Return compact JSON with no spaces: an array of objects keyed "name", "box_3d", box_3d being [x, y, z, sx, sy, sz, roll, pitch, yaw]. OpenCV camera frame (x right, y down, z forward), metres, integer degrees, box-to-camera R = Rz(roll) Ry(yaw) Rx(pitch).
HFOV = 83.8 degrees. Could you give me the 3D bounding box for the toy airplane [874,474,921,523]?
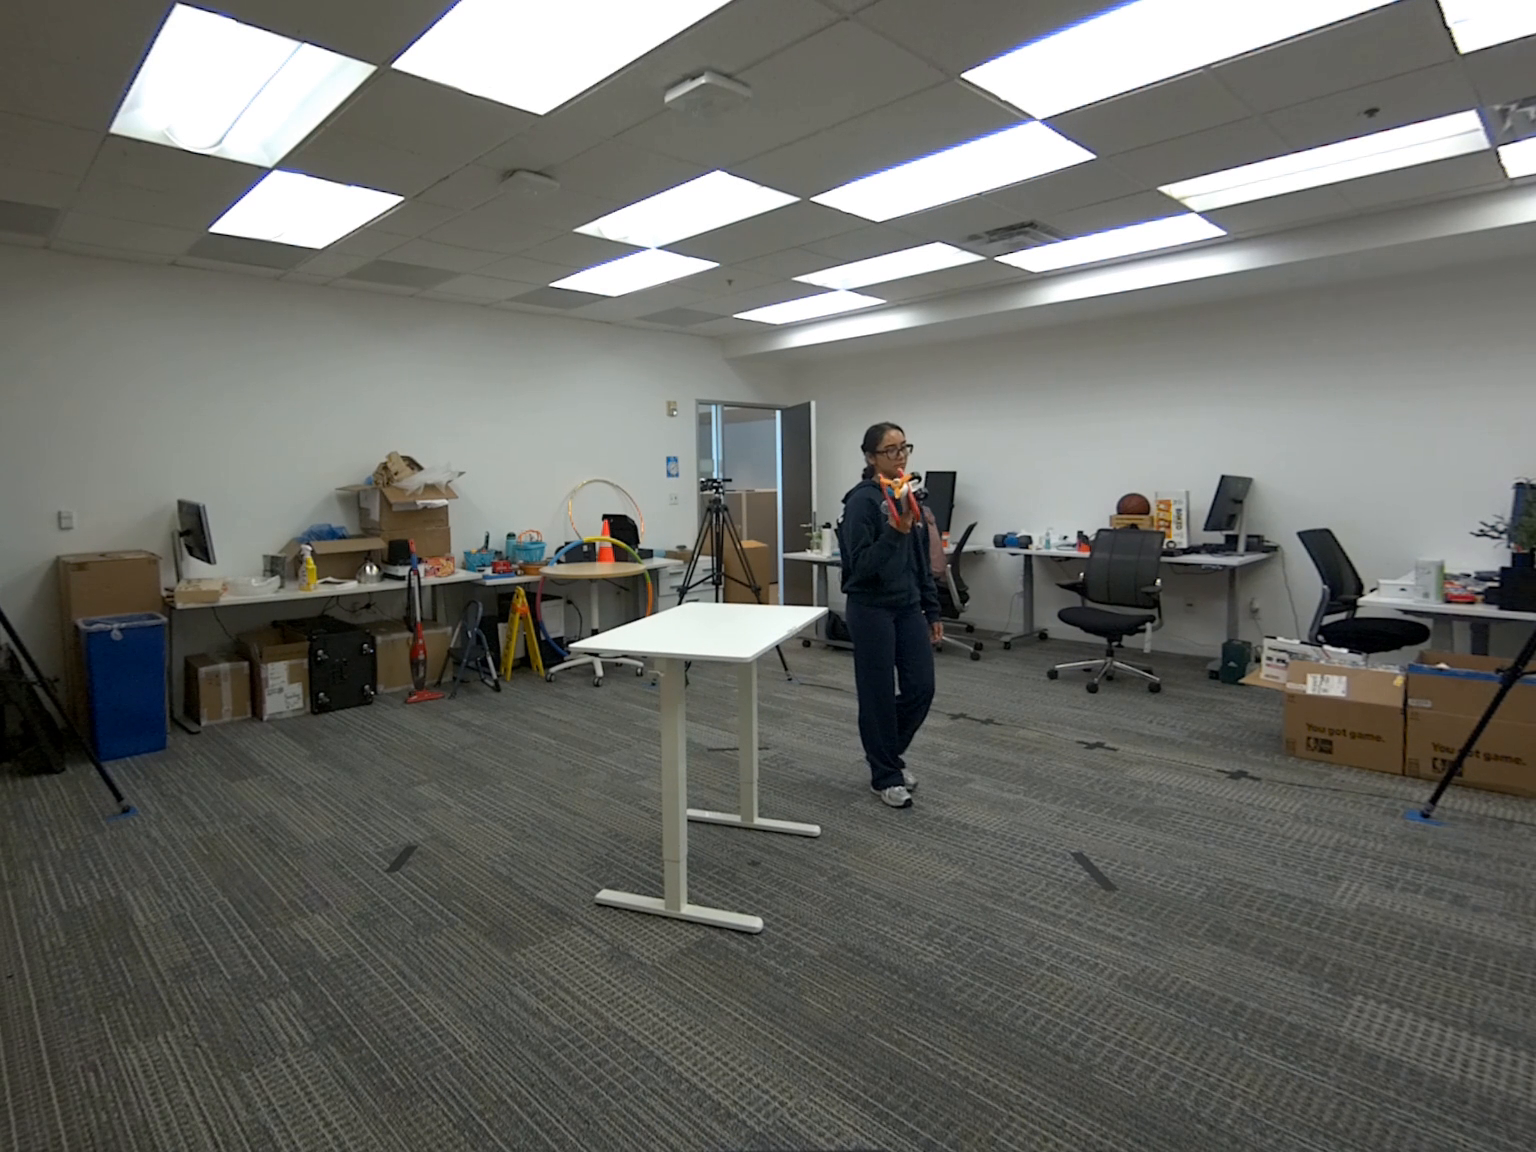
[{"name":"toy airplane","box_3d":[0.535,-0.271,3.348,0.155,0.254,0.258,-3,24,-8]}]
